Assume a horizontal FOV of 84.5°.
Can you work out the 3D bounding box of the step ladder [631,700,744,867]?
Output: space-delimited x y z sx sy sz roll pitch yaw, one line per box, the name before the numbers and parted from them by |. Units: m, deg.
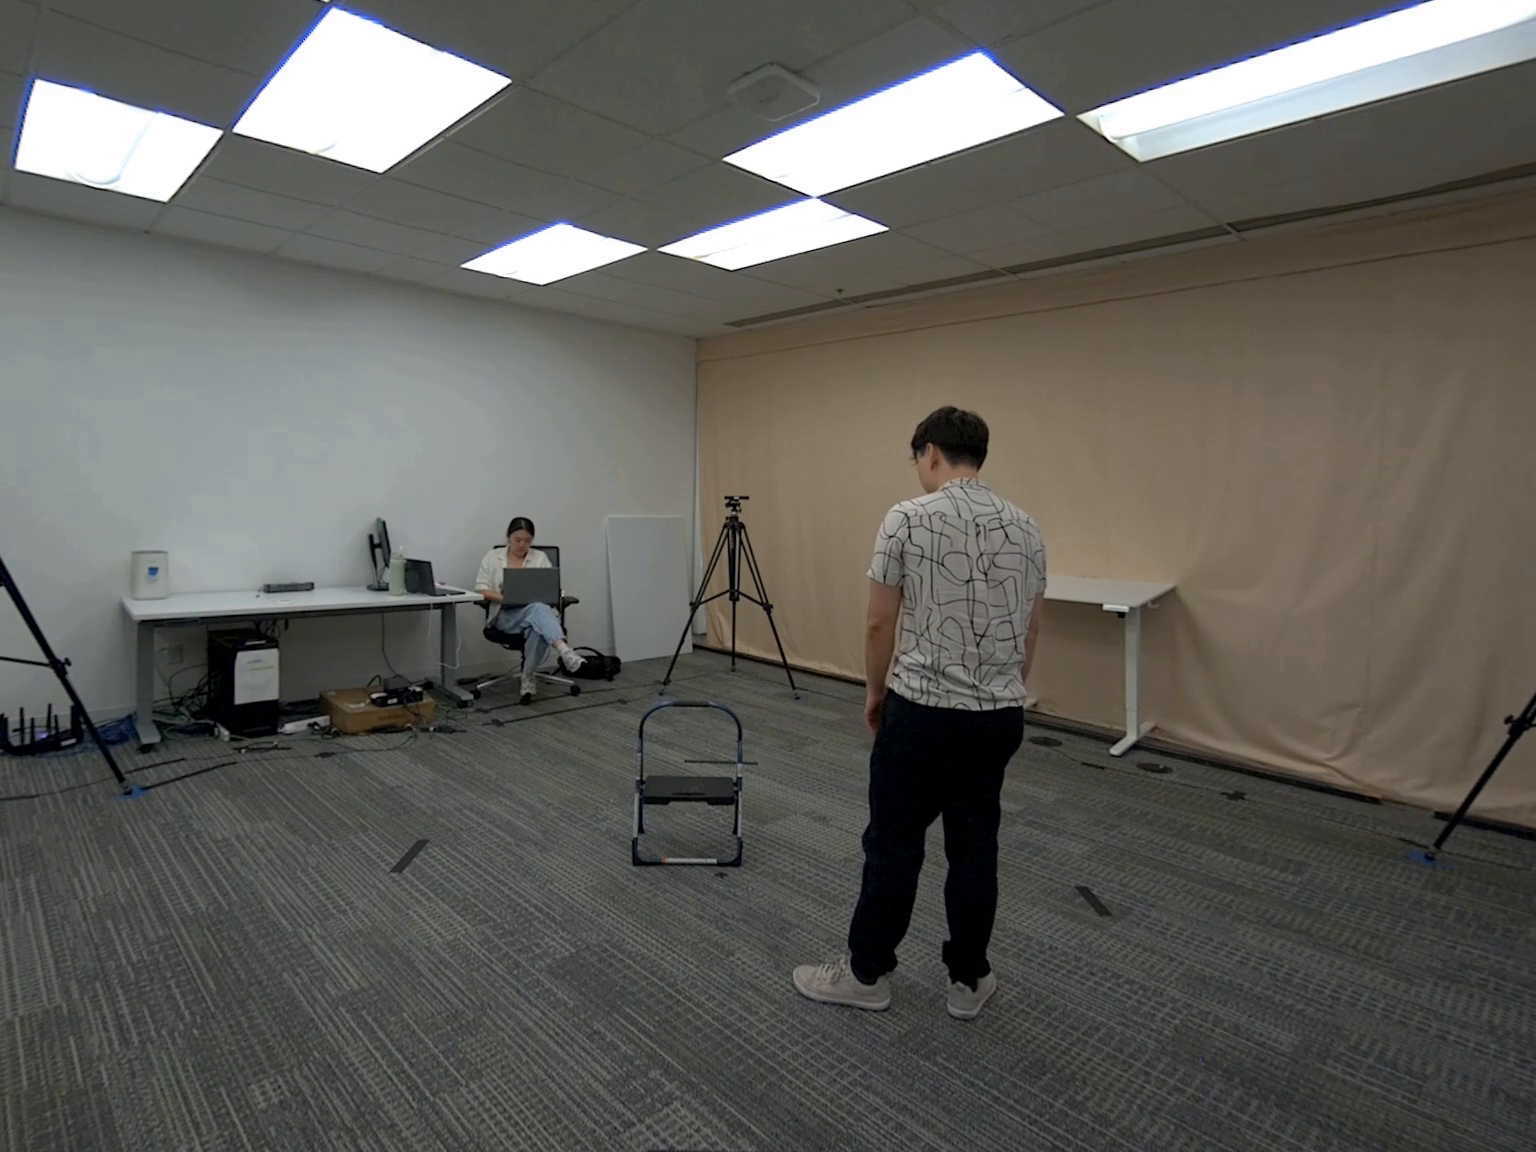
step ladder | -0.317 0.781 3.321 0.429 0.605 0.351 1 3 -4
